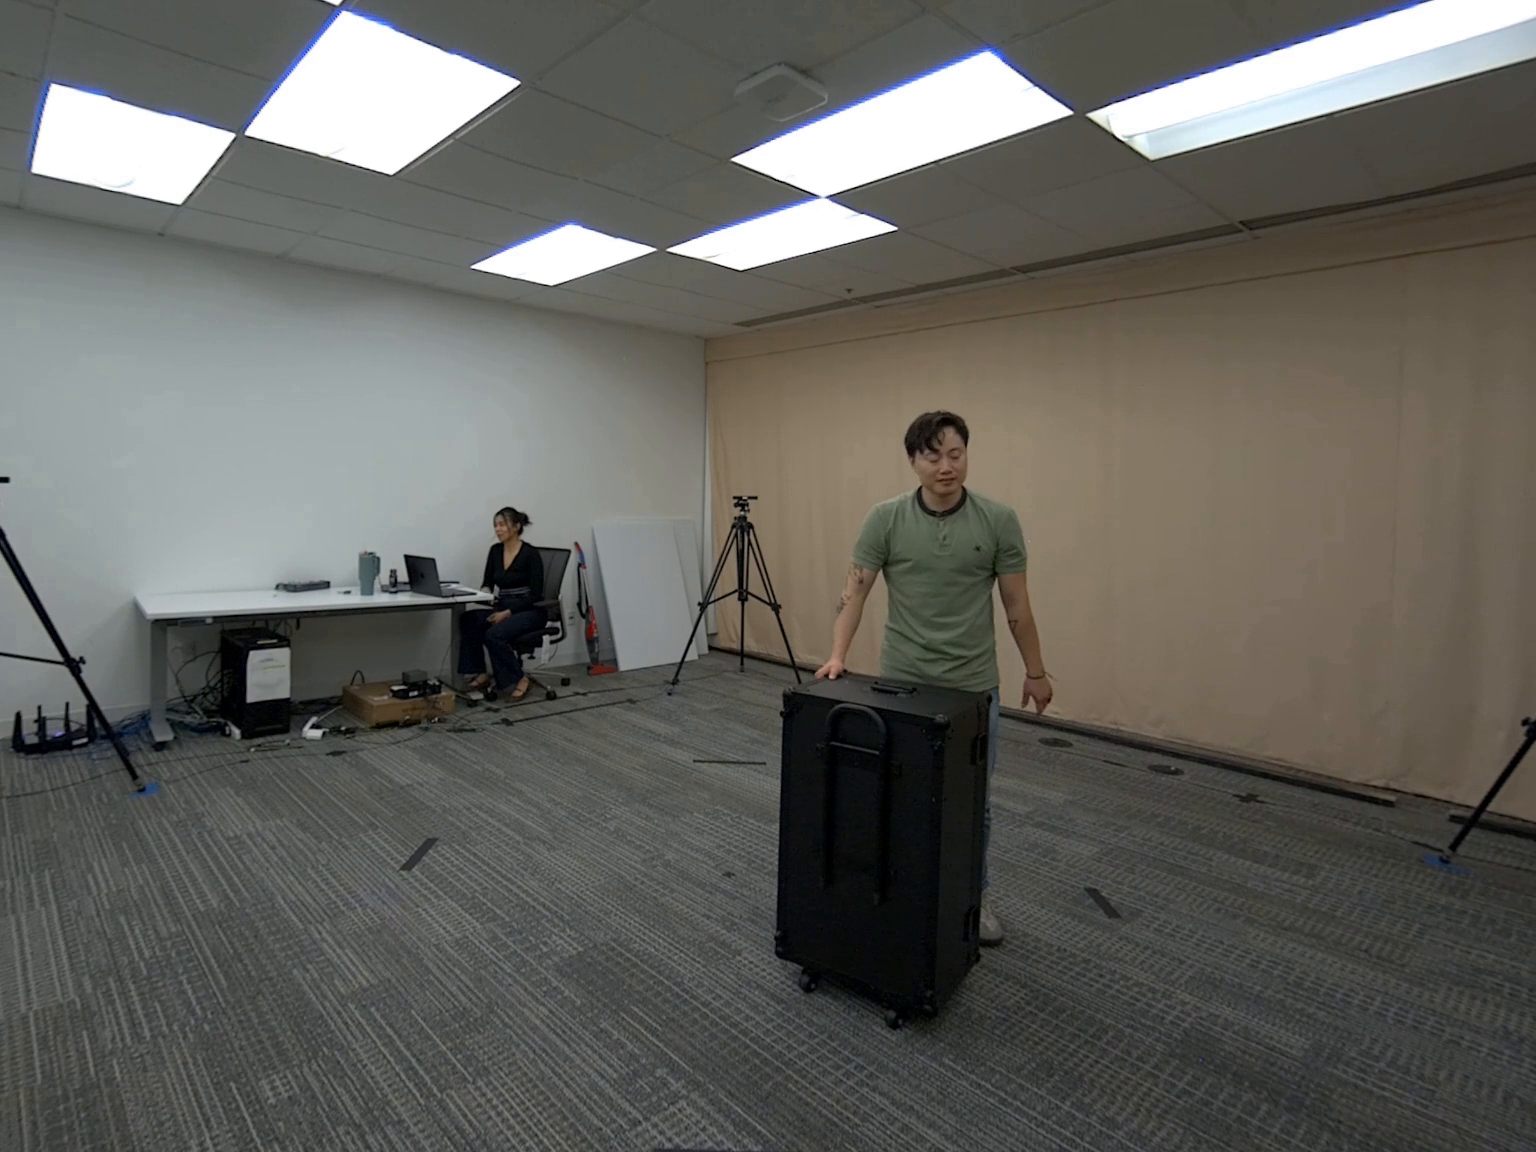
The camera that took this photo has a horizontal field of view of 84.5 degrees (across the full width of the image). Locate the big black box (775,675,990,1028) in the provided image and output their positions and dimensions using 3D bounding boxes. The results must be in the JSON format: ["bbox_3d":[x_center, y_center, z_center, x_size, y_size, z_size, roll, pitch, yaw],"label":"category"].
[{"bbox_3d":[0.314,0.758,2.391,0.534,0.858,0.388,5,6,35],"label":"big black box"}]
